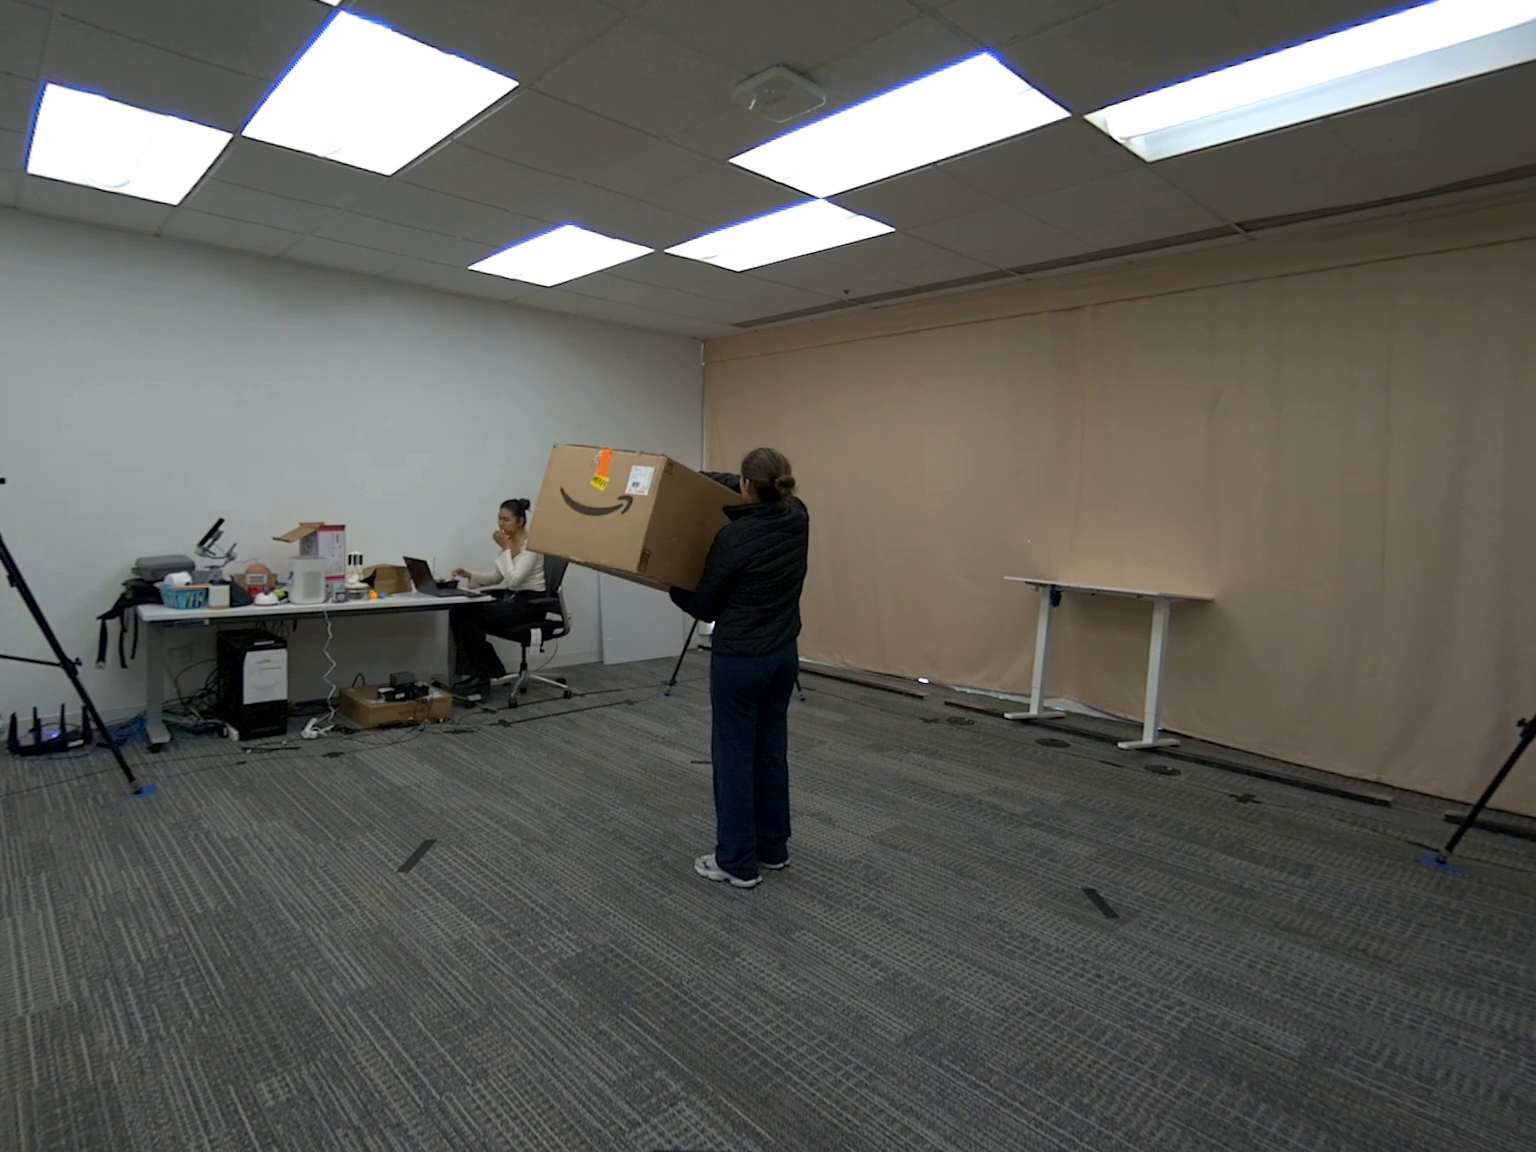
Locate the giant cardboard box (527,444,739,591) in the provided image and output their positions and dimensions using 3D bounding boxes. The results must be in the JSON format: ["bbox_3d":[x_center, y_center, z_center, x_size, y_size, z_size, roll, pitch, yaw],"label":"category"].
[{"bbox_3d":[-0.383,-0.157,3.420,0.592,0.427,0.997,10,-6,33],"label":"giant cardboard box"}]
